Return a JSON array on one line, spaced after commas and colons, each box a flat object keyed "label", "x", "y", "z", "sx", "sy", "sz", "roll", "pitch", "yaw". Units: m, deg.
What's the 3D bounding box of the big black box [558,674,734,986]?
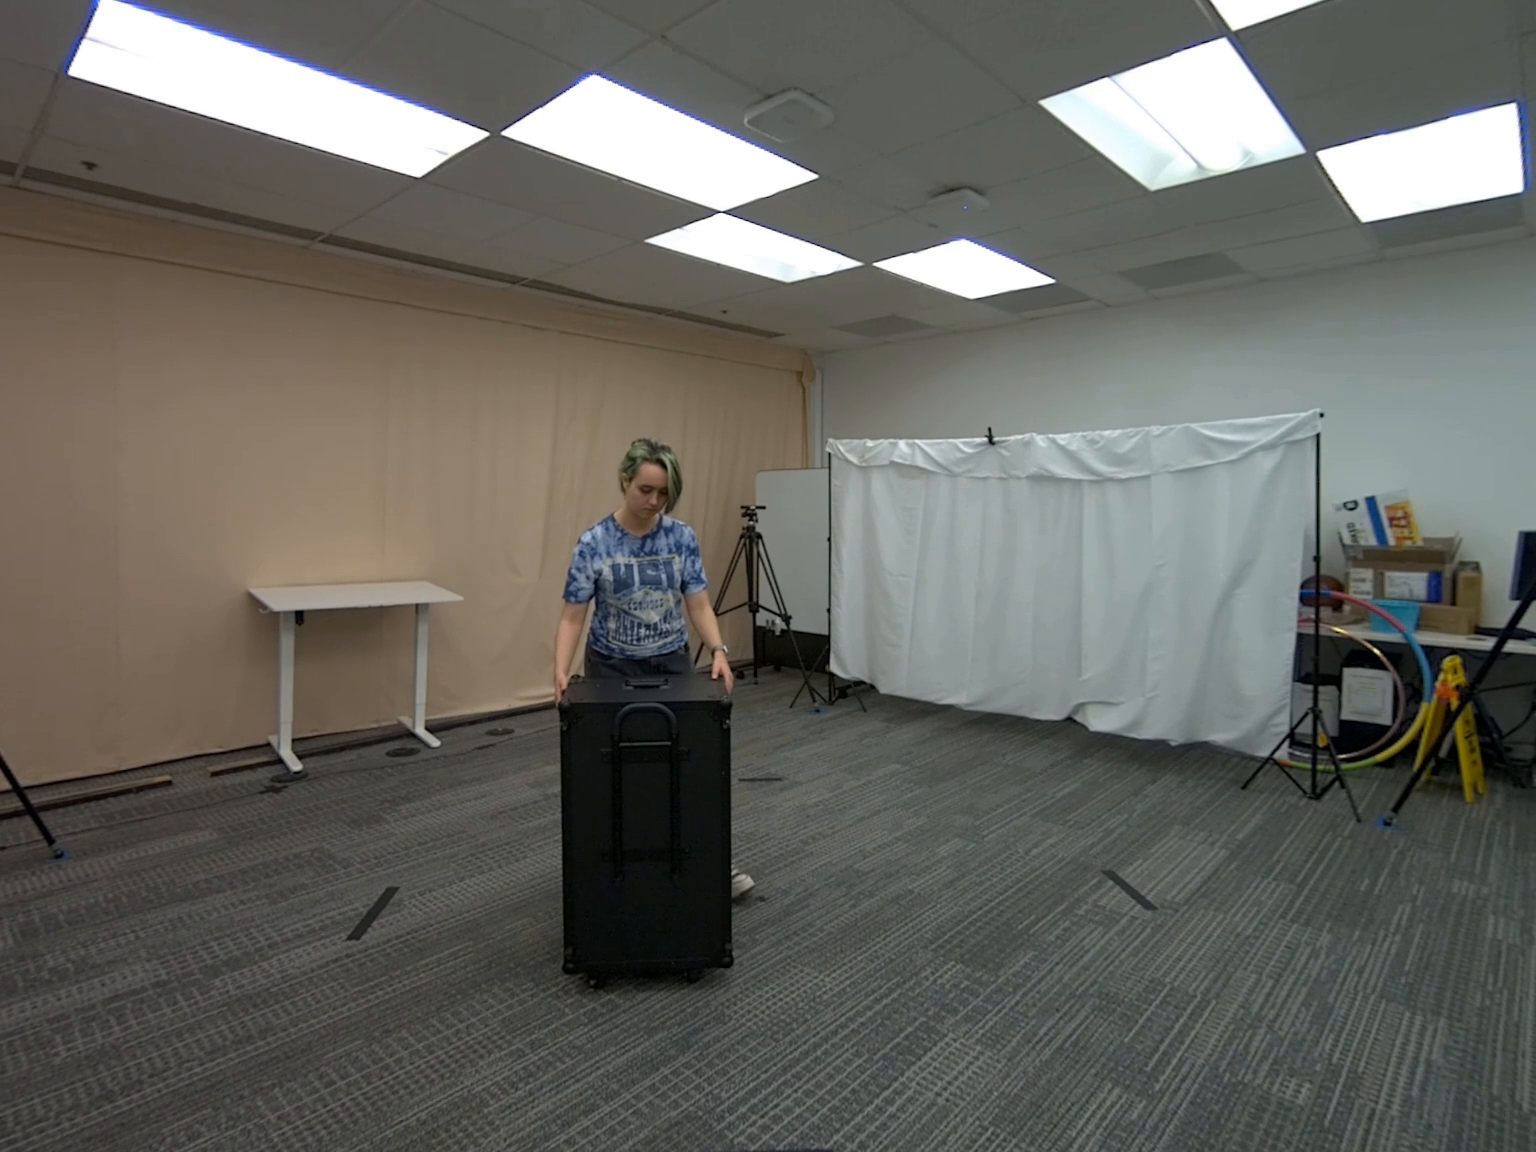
[{"label": "big black box", "x": -0.352, "y": 0.759, "z": 2.537, "sx": 0.518, "sy": 0.859, "sz": 0.400, "roll": -1, "pitch": 5, "yaw": -6}]
